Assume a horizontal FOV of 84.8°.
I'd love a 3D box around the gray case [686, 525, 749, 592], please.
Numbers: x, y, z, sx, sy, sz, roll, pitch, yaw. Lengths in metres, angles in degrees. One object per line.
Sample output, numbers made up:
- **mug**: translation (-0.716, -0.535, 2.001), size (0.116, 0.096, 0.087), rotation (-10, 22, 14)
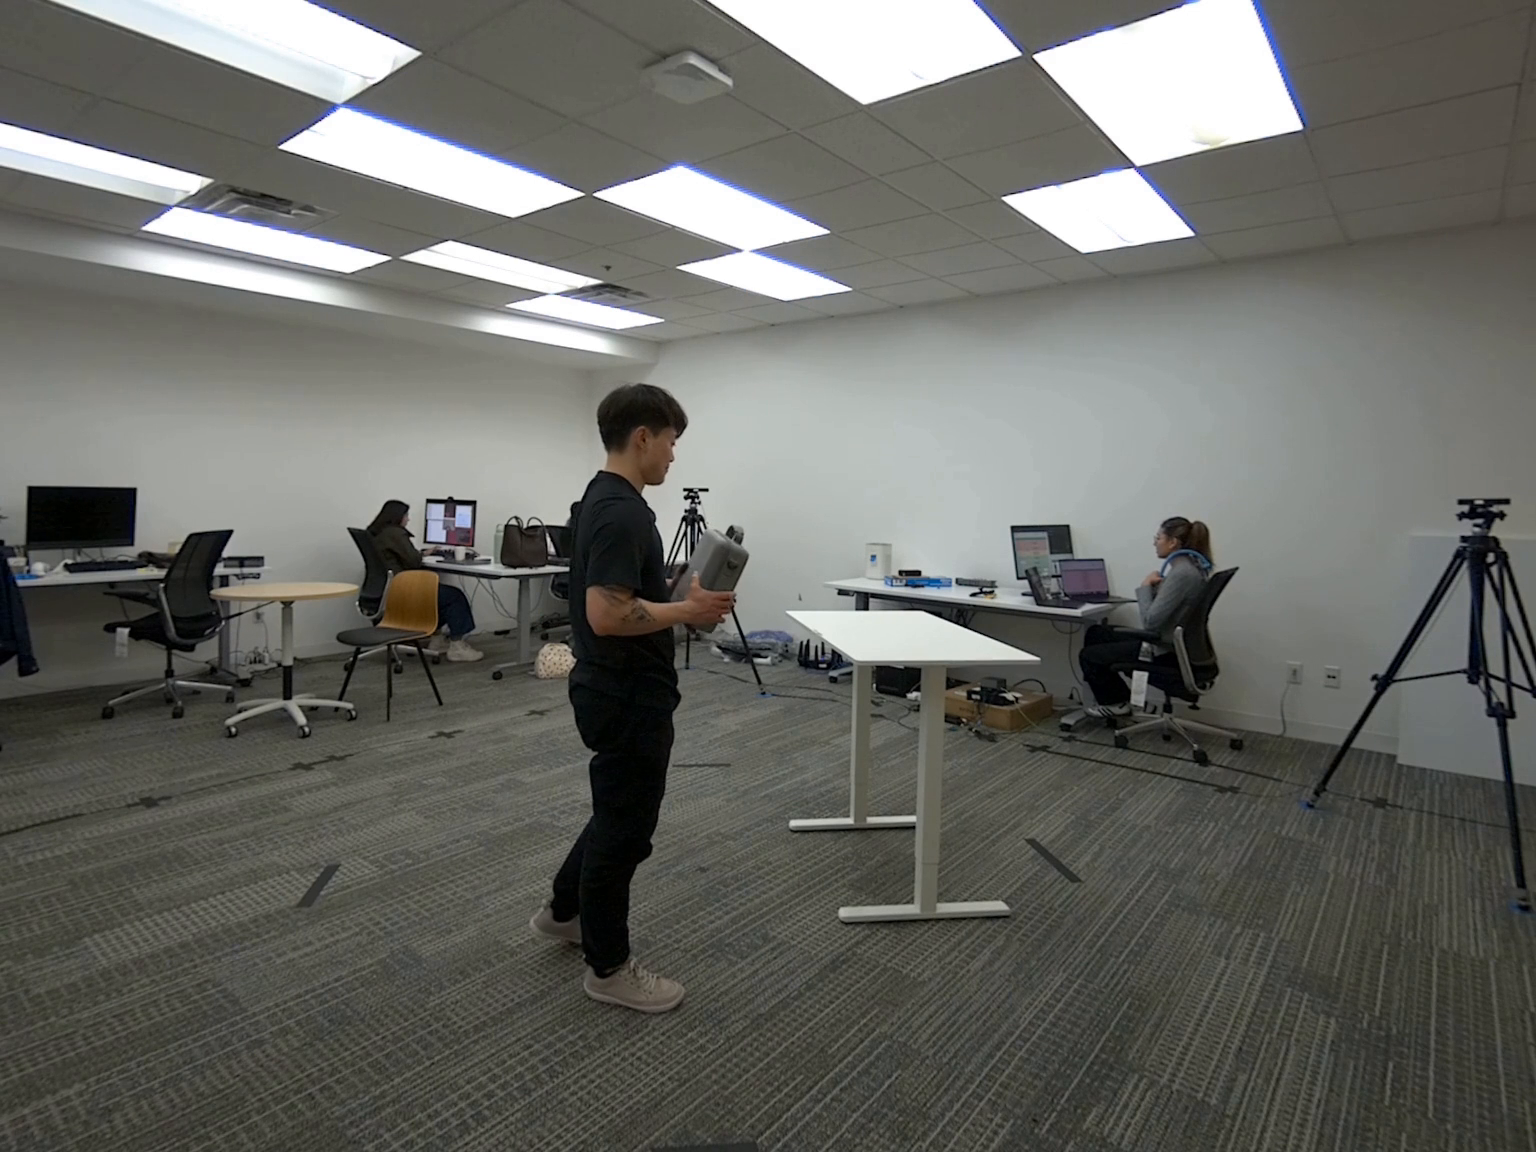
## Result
- **gray case**: translation (-0.175, 0.003, 2.342), size (0.102, 0.260, 0.262), rotation (25, 6, -15)
